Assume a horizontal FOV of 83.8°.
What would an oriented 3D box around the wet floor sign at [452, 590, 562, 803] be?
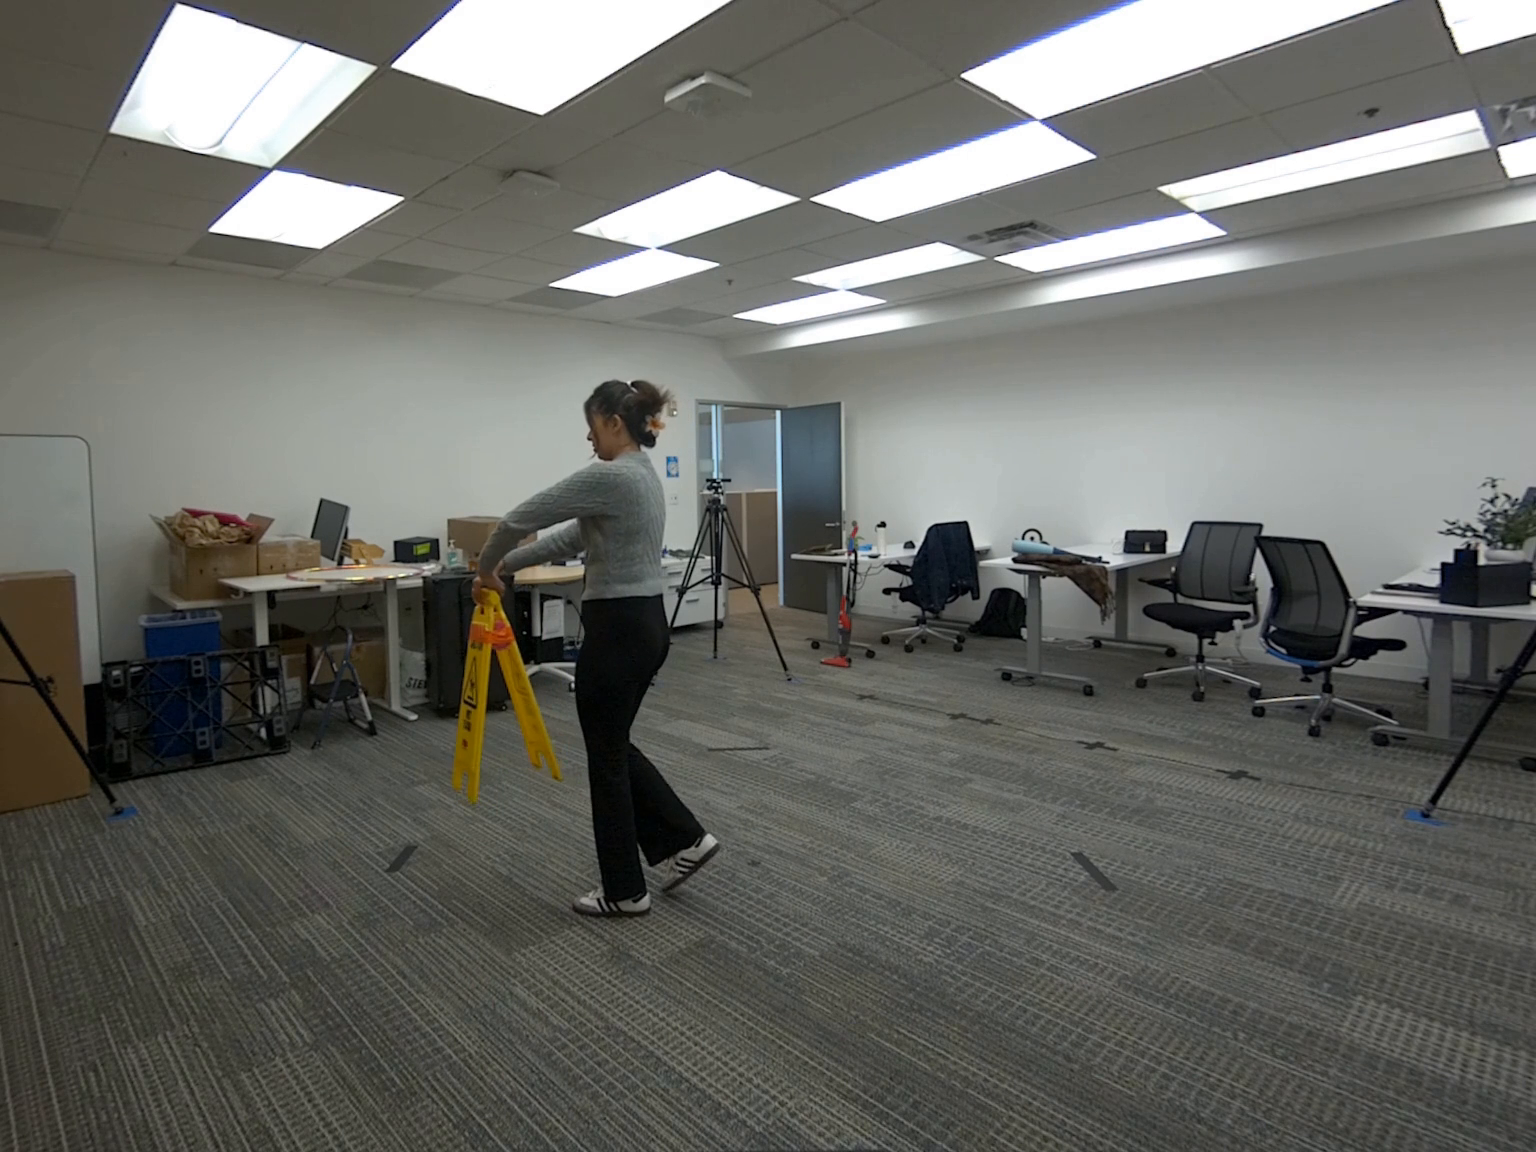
[{"bbox_3d":[-0.883,0.364,2.803,0.283,0.645,0.289,-6,2,-32],"label":"wet floor sign"}]
